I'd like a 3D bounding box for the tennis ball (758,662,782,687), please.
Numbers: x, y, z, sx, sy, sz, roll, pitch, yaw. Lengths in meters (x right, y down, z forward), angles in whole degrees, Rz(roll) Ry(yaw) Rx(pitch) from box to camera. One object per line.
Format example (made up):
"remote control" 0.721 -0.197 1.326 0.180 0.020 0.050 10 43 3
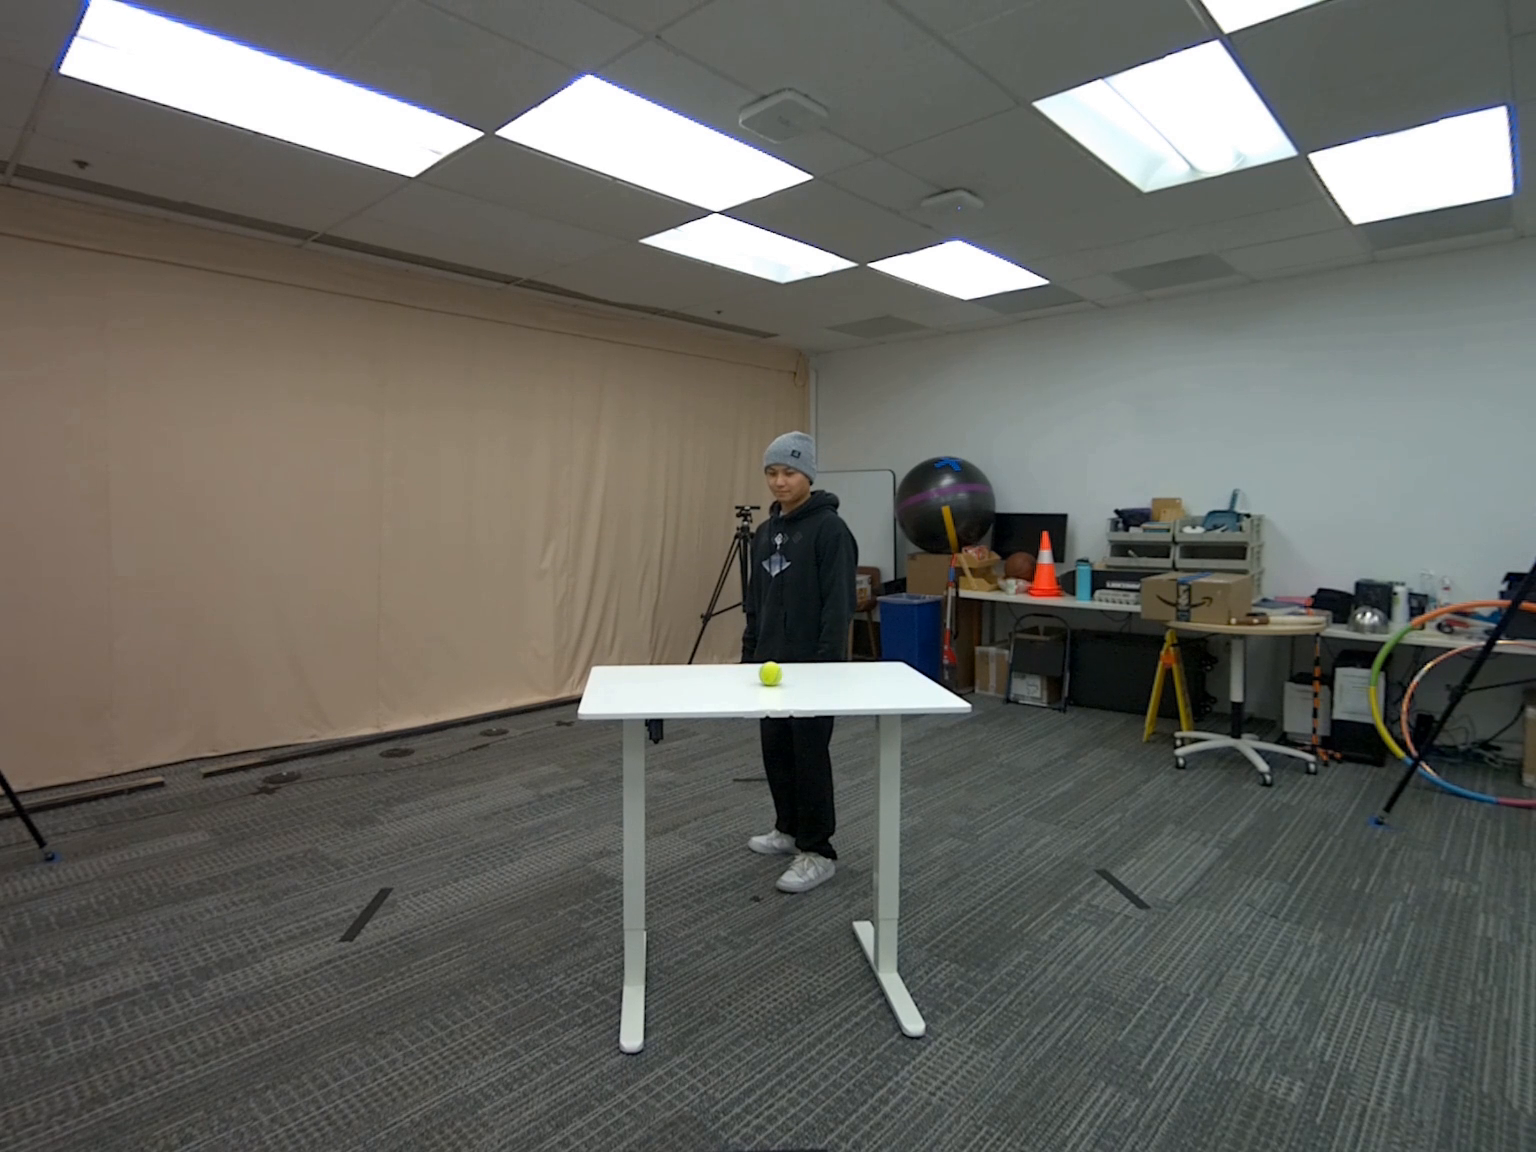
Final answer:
"tennis ball" 0.012 0.280 2.409 0.066 0.066 0.067 0 4 -2
